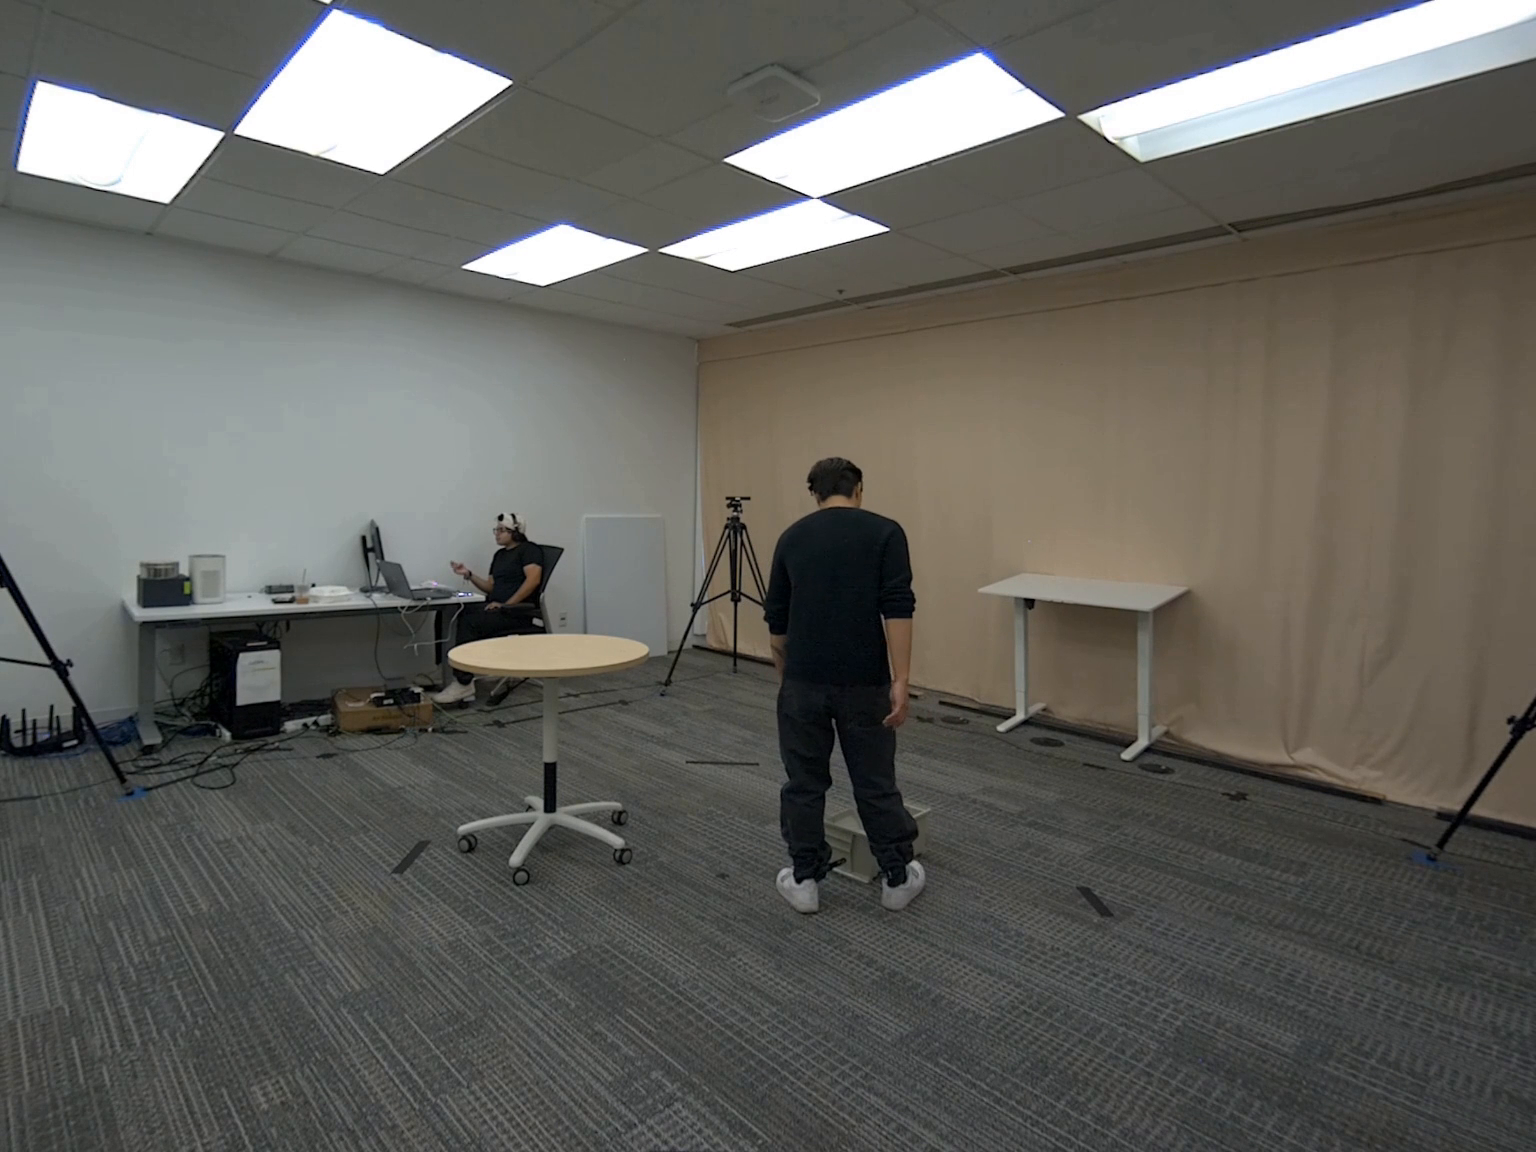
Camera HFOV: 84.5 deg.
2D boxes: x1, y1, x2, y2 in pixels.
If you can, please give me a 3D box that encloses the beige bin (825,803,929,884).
[{"bbox_3d":[0.363,1.012,3.323,0.387,0.188,0.413,6,6,42],"label":"beige bin"}]
